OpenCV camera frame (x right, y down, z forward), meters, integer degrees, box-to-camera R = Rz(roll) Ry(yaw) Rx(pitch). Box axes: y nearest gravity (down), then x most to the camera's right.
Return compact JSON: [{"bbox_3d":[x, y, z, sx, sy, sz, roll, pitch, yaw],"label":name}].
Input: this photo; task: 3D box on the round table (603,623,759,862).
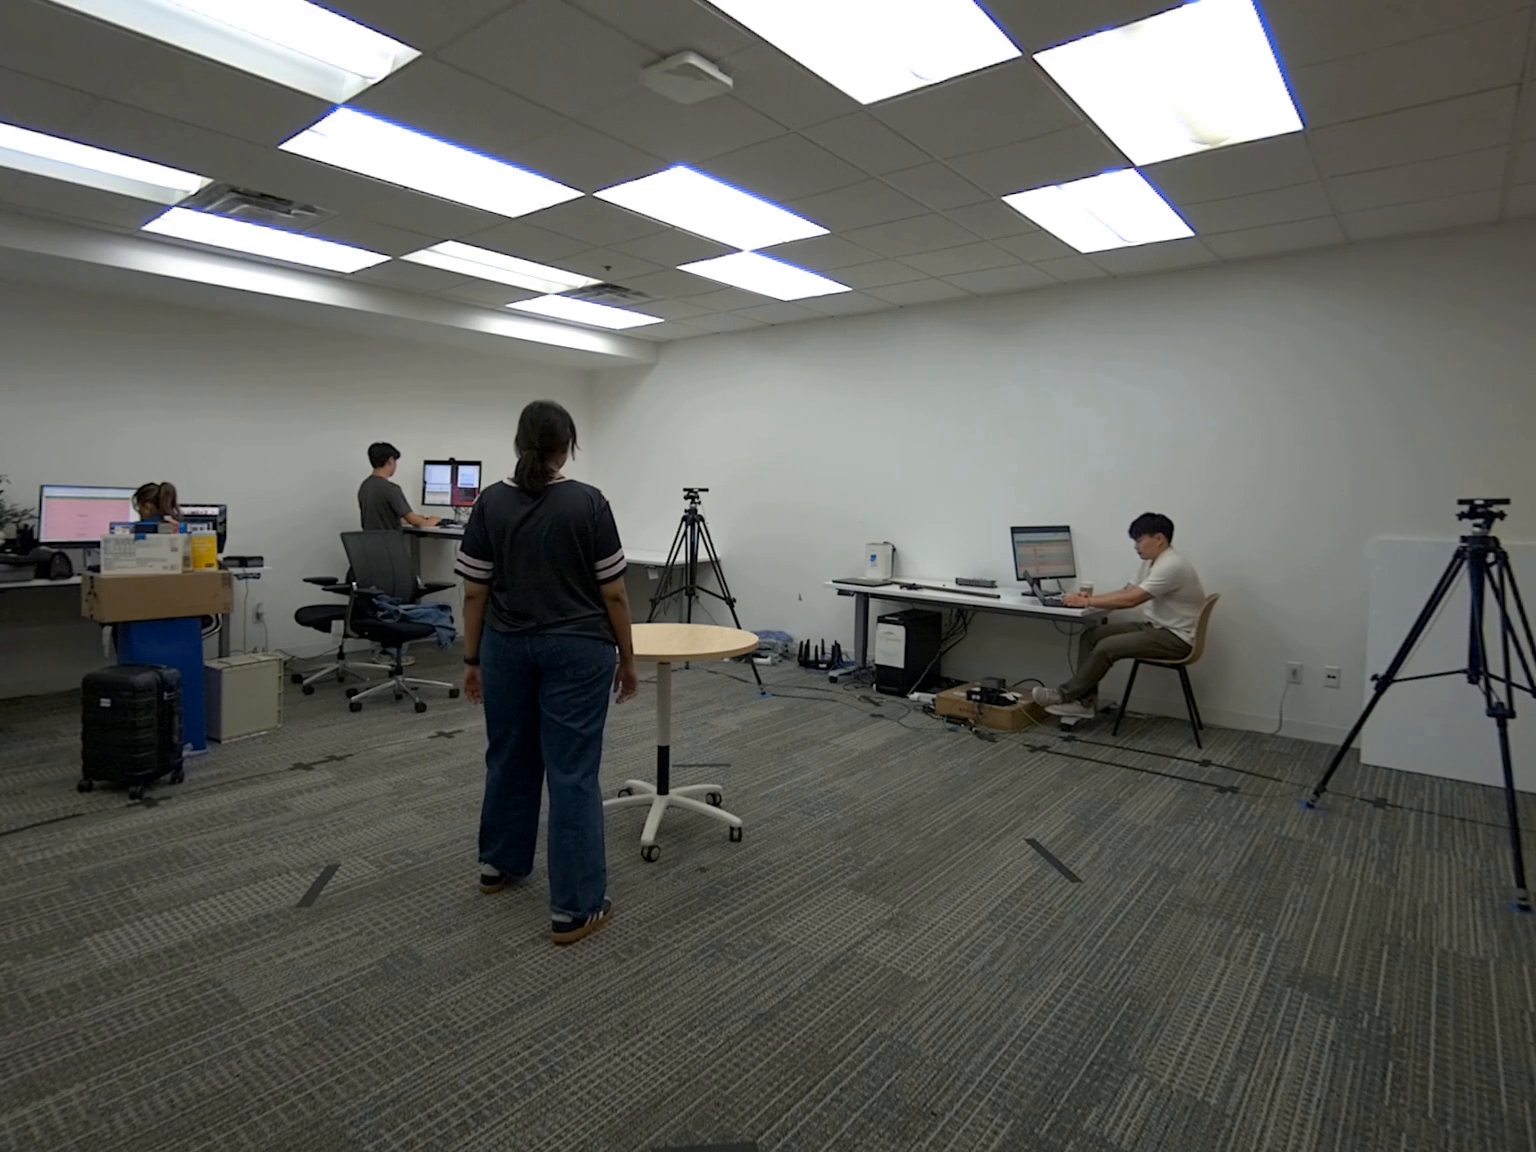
[{"bbox_3d":[-0.430,0.642,3.479,0.763,0.792,0.767,1,4,-2],"label":"round table"}]
